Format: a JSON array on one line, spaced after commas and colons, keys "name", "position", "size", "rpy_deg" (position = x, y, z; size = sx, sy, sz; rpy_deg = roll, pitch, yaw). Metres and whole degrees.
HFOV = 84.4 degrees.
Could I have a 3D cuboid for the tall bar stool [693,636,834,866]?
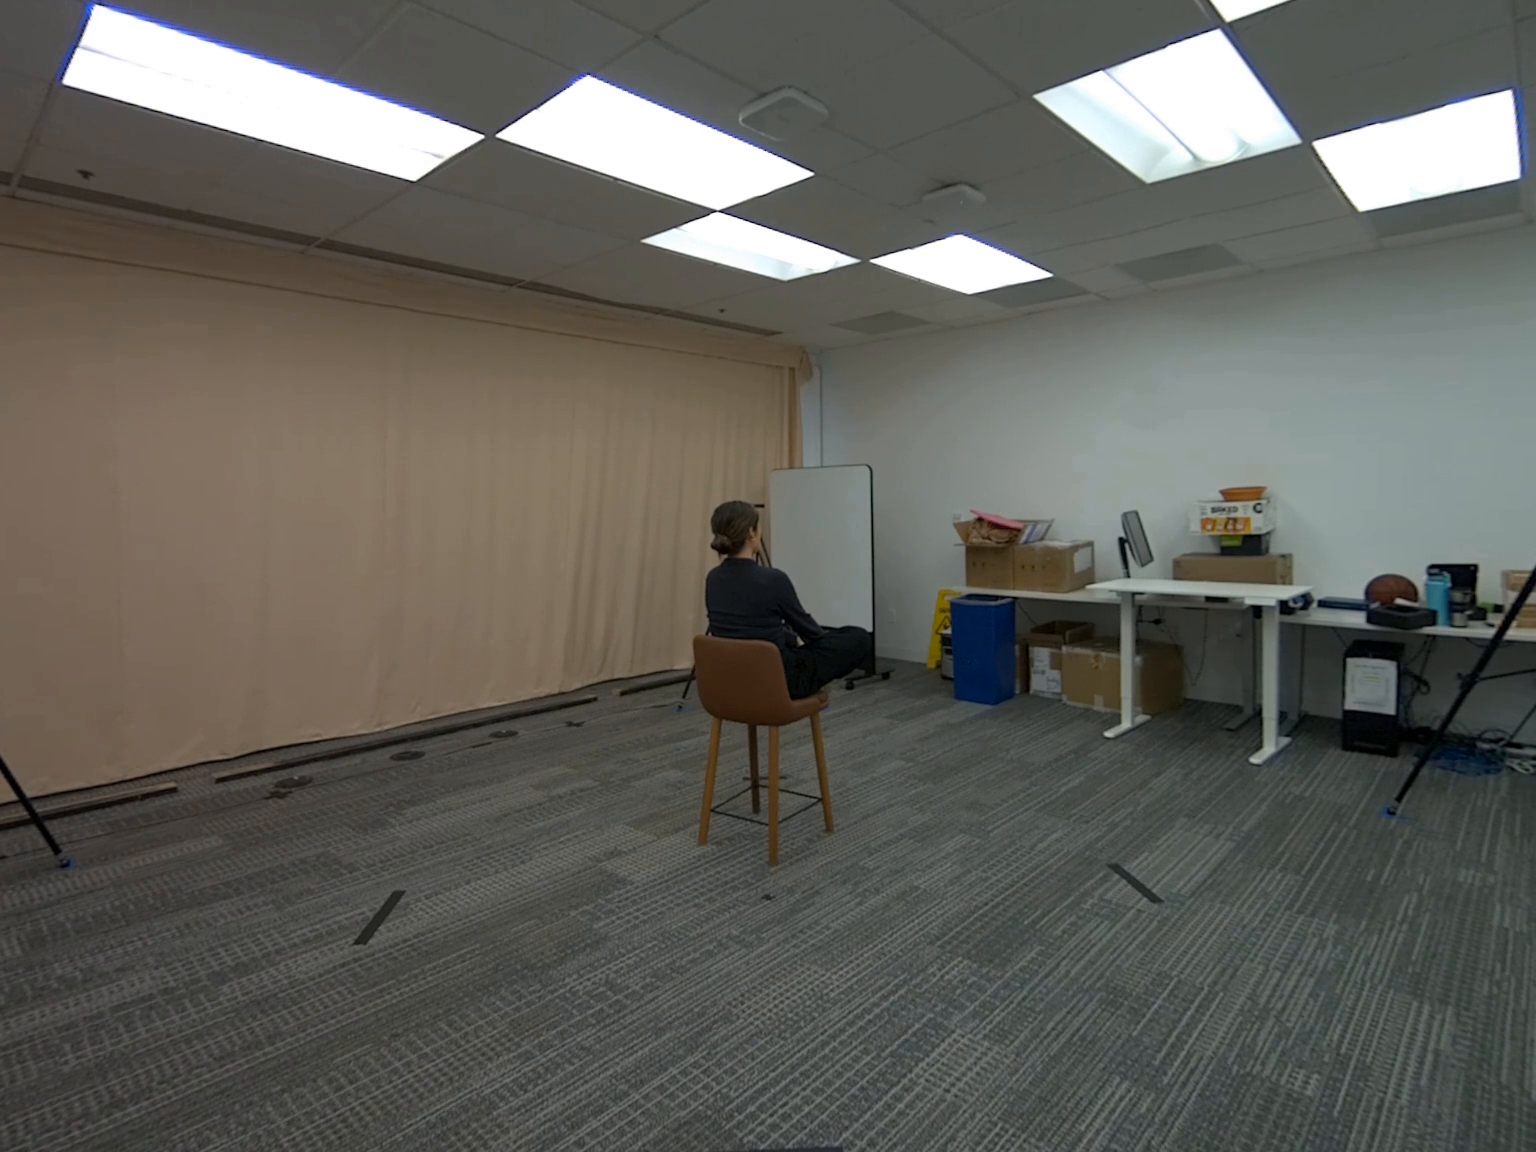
[{"name": "tall bar stool", "position": [-0.023, 0.661, 3.497], "size": [0.471, 0.887, 0.455], "rpy_deg": [1, 6, 35]}]
